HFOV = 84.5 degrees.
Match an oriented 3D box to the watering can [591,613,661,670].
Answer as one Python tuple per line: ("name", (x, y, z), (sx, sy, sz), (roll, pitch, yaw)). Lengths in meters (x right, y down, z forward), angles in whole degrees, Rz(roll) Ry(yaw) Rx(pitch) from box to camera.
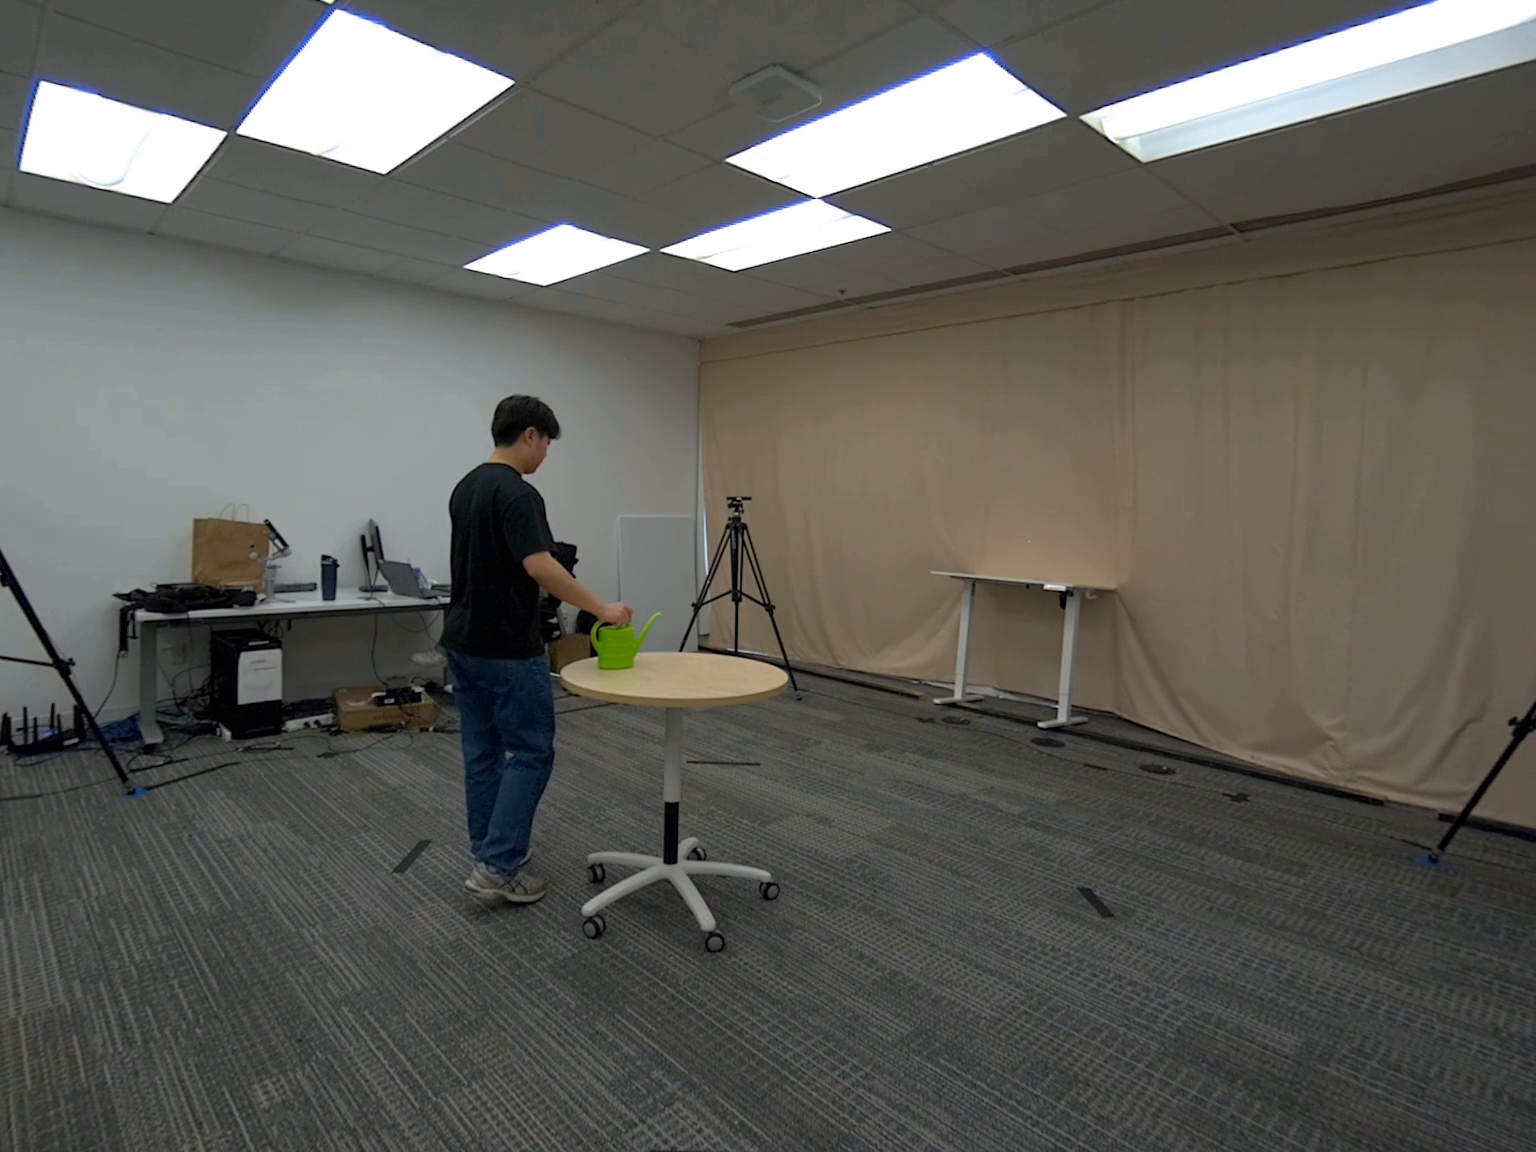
("watering can", (-0.496, 0.232, 2.917), (0.273, 0.176, 0.100), (-3, 6, -25))
